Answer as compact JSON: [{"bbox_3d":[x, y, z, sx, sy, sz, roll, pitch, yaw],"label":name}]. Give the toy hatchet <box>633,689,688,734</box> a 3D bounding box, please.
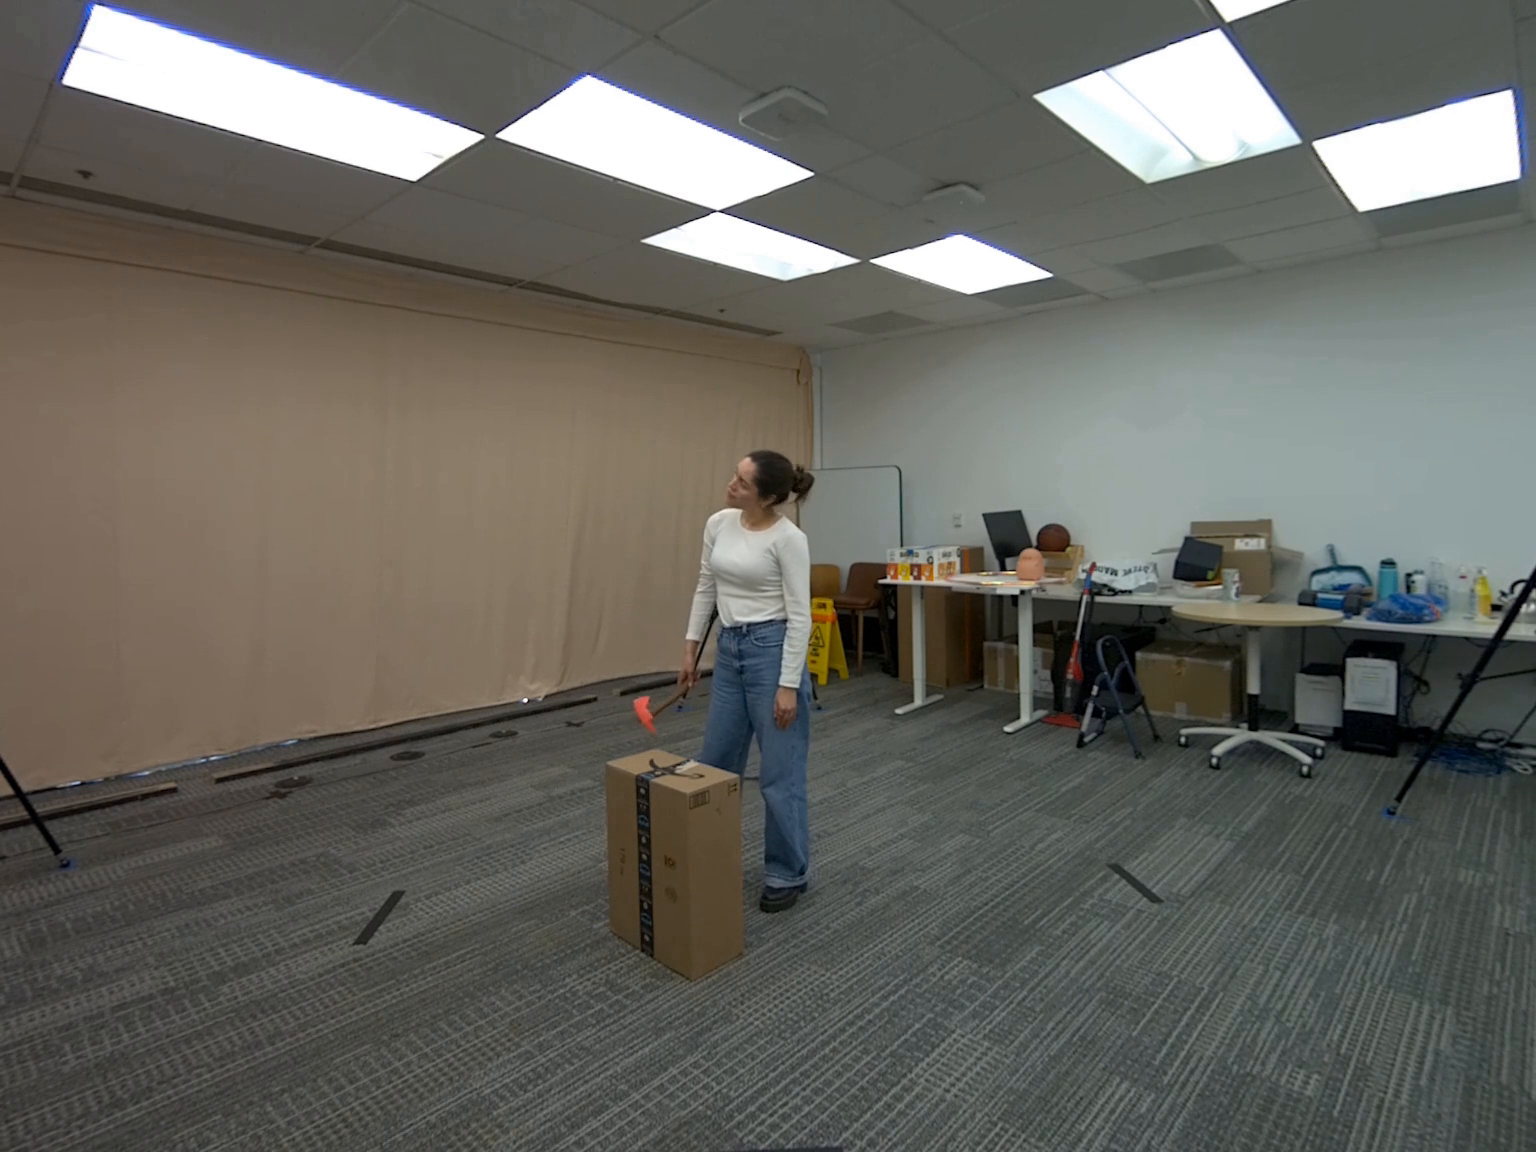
[{"bbox_3d":[-0.378,0.429,3.041,0.132,0.269,0.029,38,-12,8],"label":"toy hatchet"}]
